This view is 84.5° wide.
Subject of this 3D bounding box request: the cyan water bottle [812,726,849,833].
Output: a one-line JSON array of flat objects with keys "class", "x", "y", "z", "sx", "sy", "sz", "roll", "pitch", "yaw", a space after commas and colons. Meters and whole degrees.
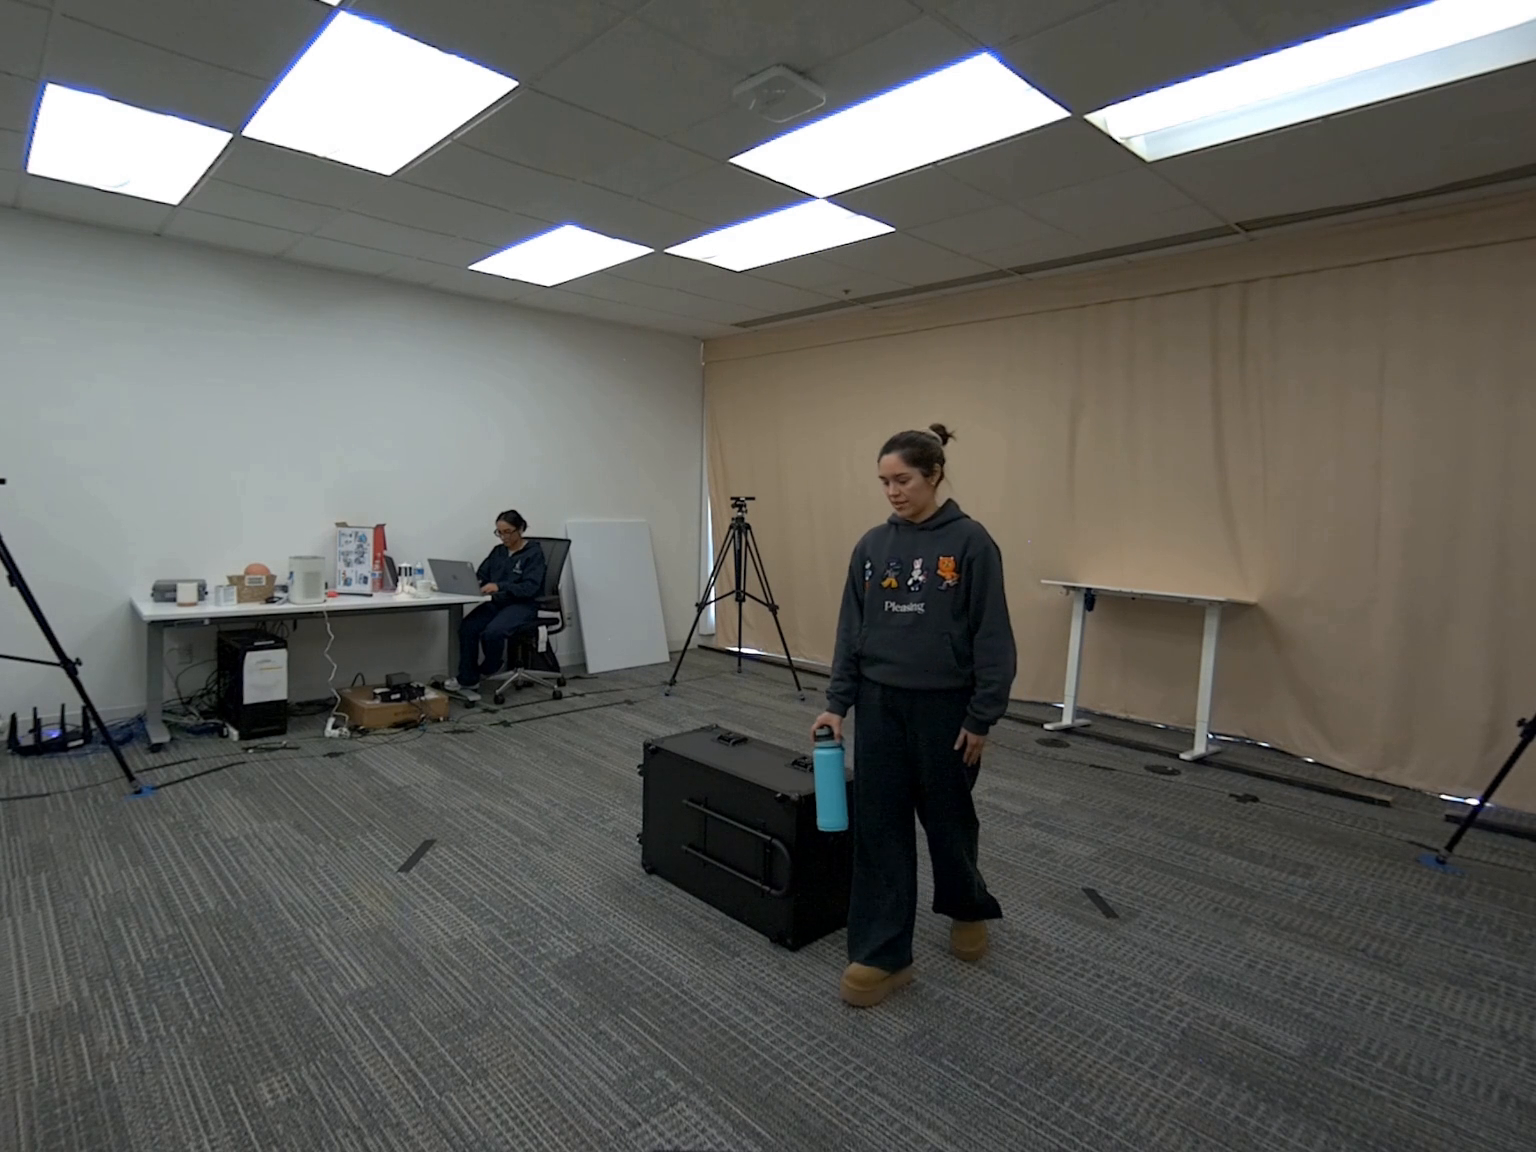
[{"class": "cyan water bottle", "x": 0.184, "y": 0.598, "z": 2.475, "sx": 0.092, "sy": 0.285, "sz": 0.092, "roll": -4, "pitch": -6, "yaw": -2}]
